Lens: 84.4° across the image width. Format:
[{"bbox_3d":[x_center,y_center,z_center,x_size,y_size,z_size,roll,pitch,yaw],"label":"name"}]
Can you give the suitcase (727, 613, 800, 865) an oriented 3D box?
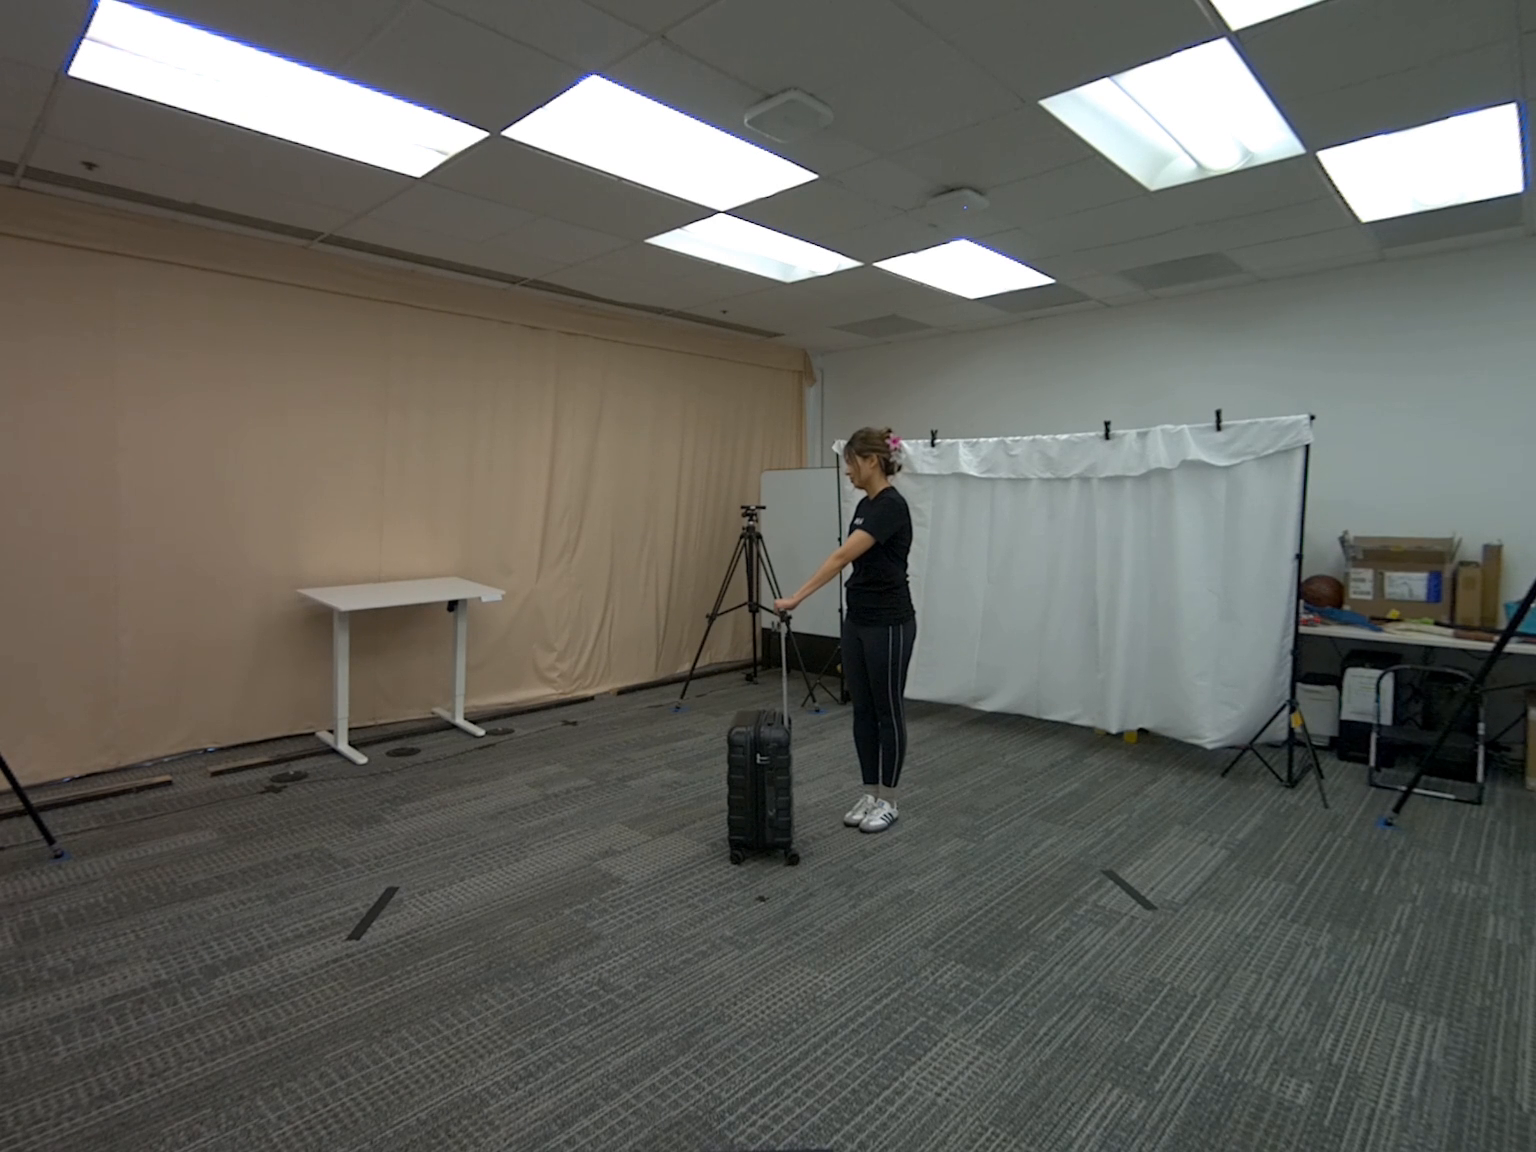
[{"bbox_3d":[-0.033,0.630,3.401,0.258,0.977,0.383,-2,3,2],"label":"suitcase"}]
